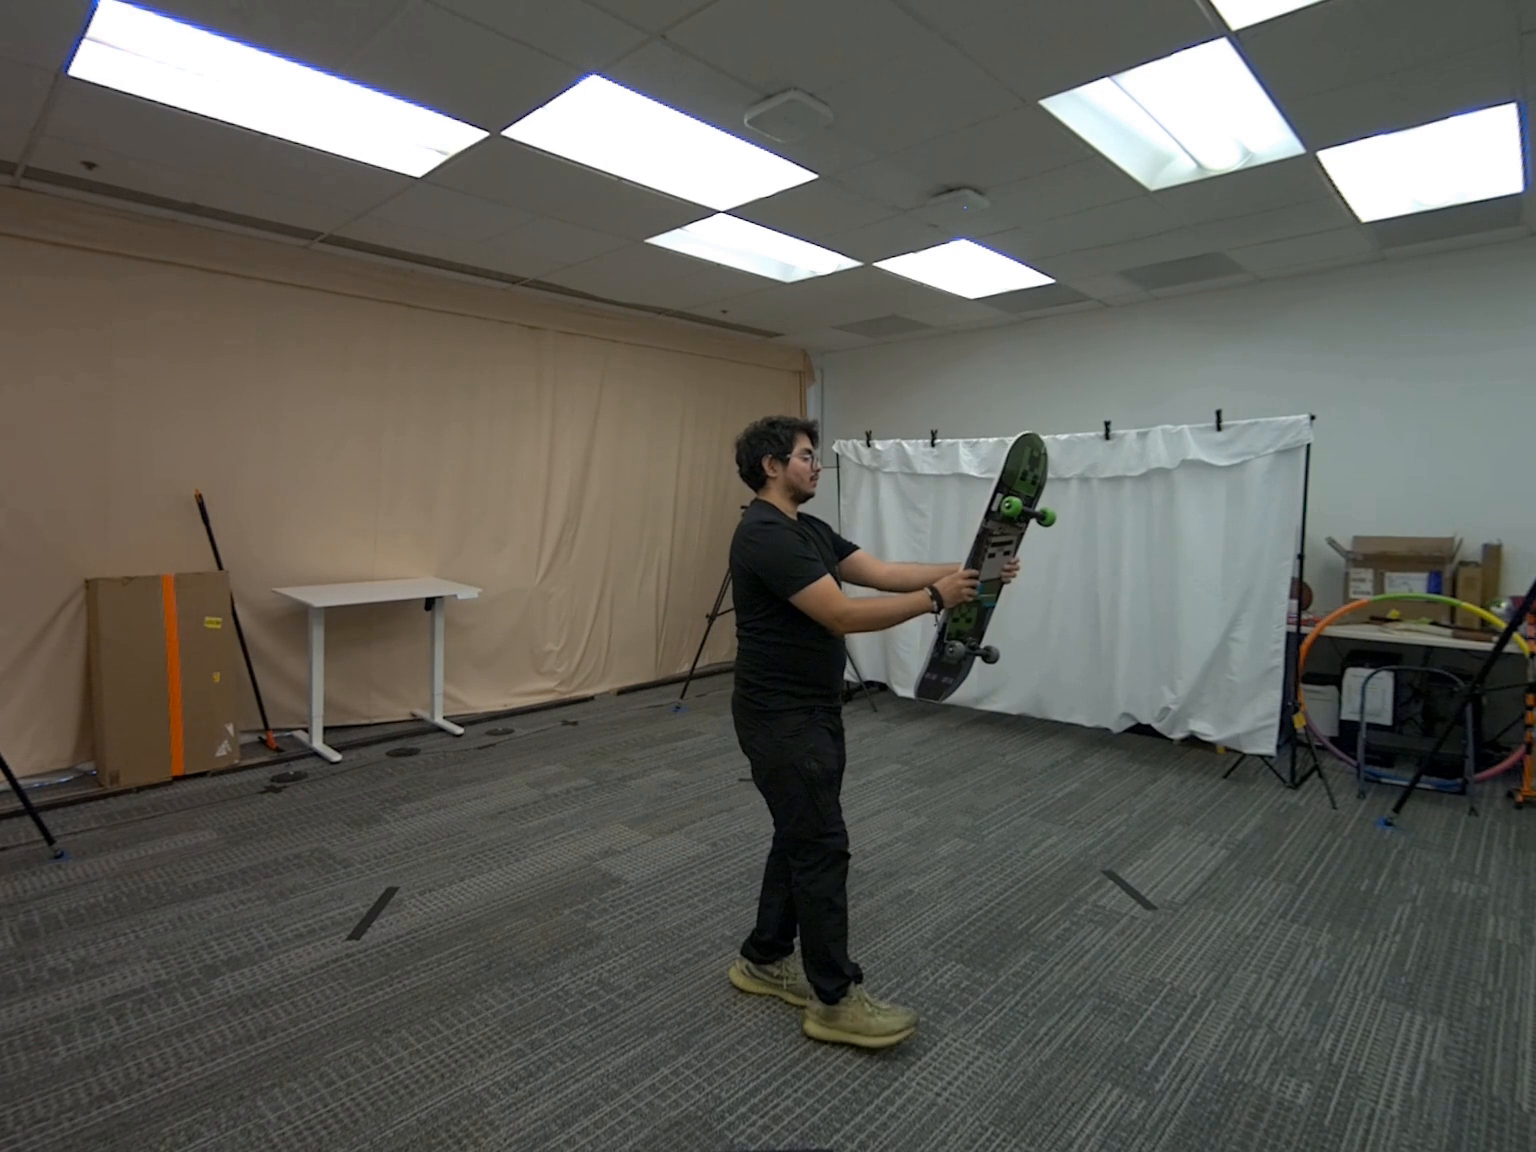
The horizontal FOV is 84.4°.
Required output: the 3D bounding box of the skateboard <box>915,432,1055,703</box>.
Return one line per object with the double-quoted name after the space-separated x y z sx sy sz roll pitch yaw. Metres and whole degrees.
0.595 0.010 2.228 0.187 0.783 0.114 8 15 -37 "skateboard"
